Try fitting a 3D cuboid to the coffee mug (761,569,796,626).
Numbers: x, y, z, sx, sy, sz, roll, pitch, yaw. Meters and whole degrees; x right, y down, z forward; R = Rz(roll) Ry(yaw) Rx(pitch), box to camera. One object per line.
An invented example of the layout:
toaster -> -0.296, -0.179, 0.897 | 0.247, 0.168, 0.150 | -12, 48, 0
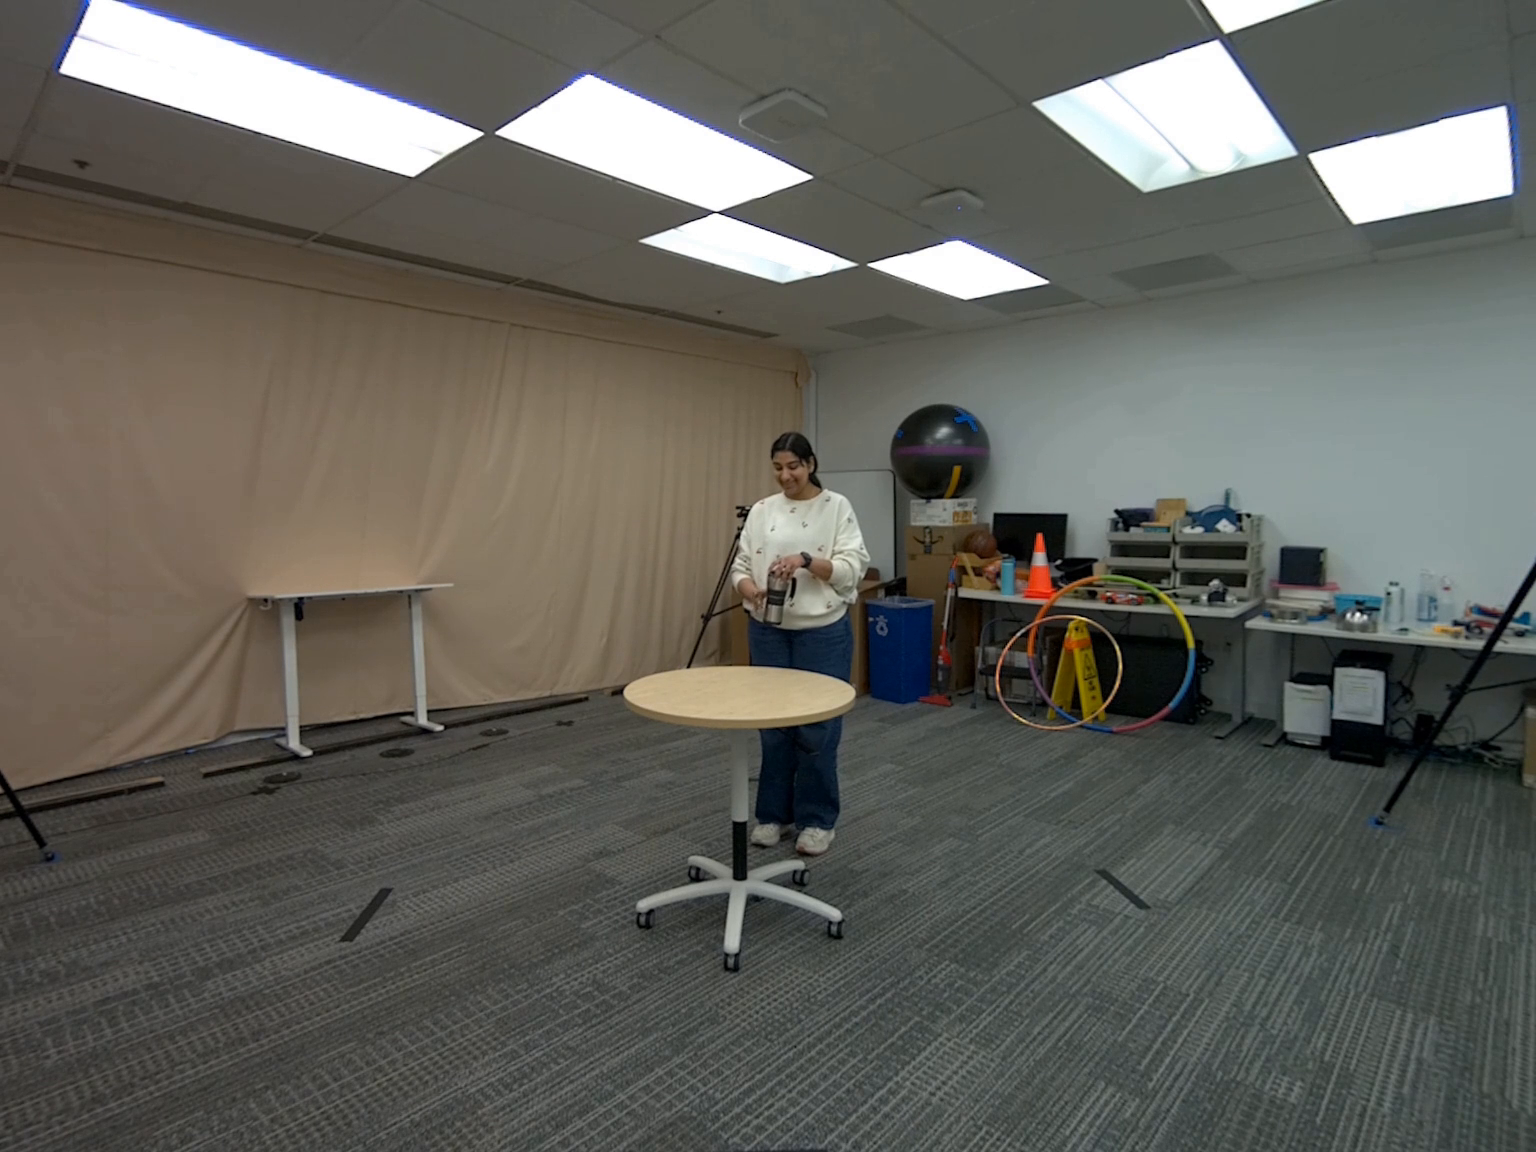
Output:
coffee mug -> 0.053, 0.079, 3.180 | 0.121, 0.202, 0.089 | 3, 3, -8
